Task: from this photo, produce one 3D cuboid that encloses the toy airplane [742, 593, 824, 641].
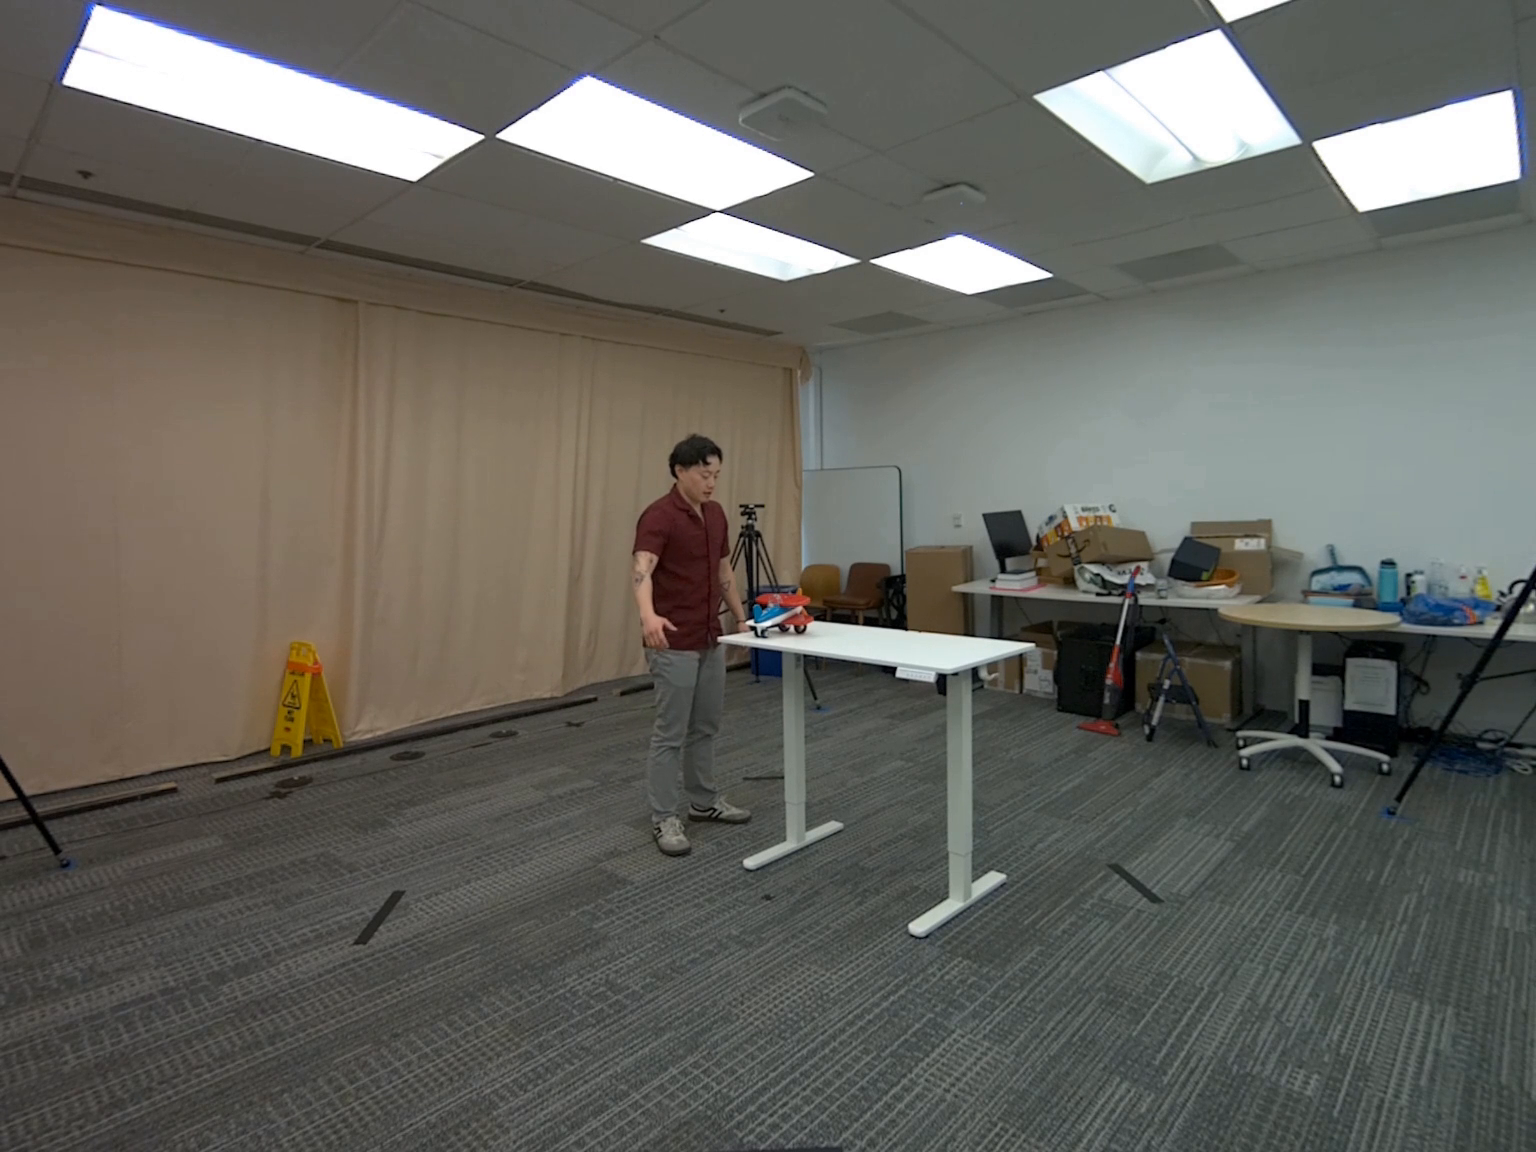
[{"bbox_3d":[0.059,0.153,3.273,0.256,0.156,0.254,-1,1,17],"label":"toy airplane"}]
